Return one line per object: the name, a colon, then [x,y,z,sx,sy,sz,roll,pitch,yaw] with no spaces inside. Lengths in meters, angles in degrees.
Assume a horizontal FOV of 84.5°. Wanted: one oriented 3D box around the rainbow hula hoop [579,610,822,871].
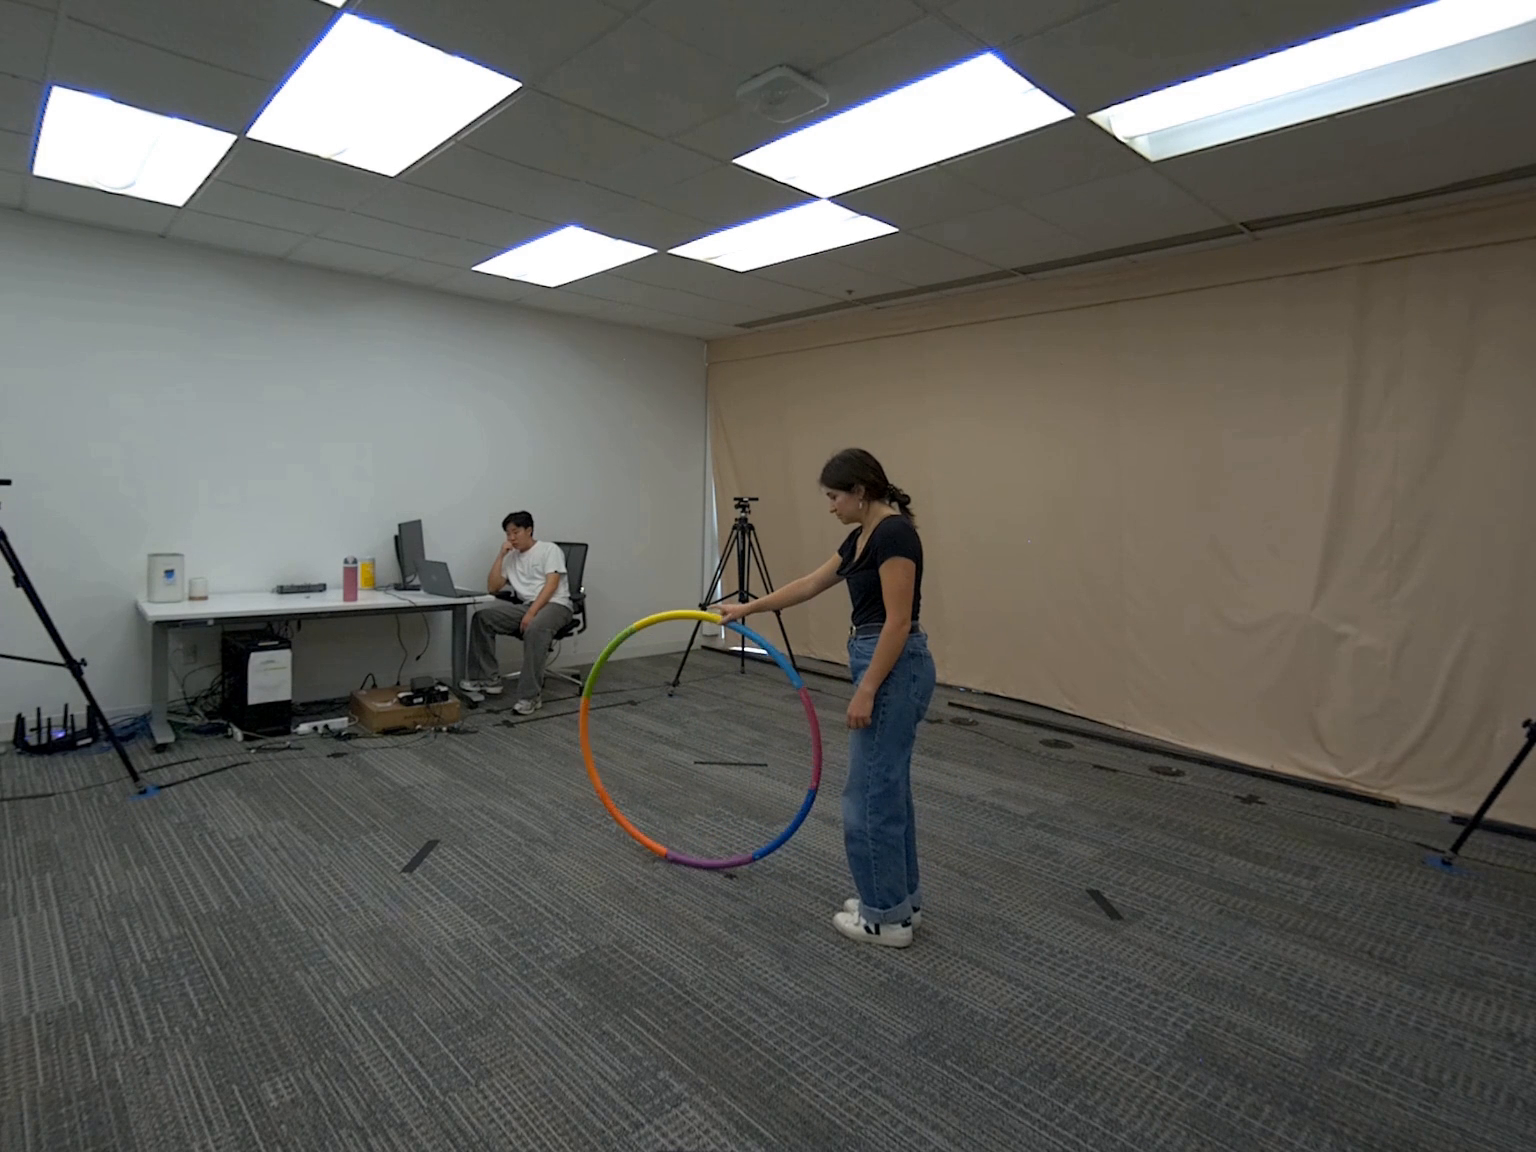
rainbow hula hoop: [-0.281,0.622,3.133,0.996,0.975,0.035,3,5,22]
